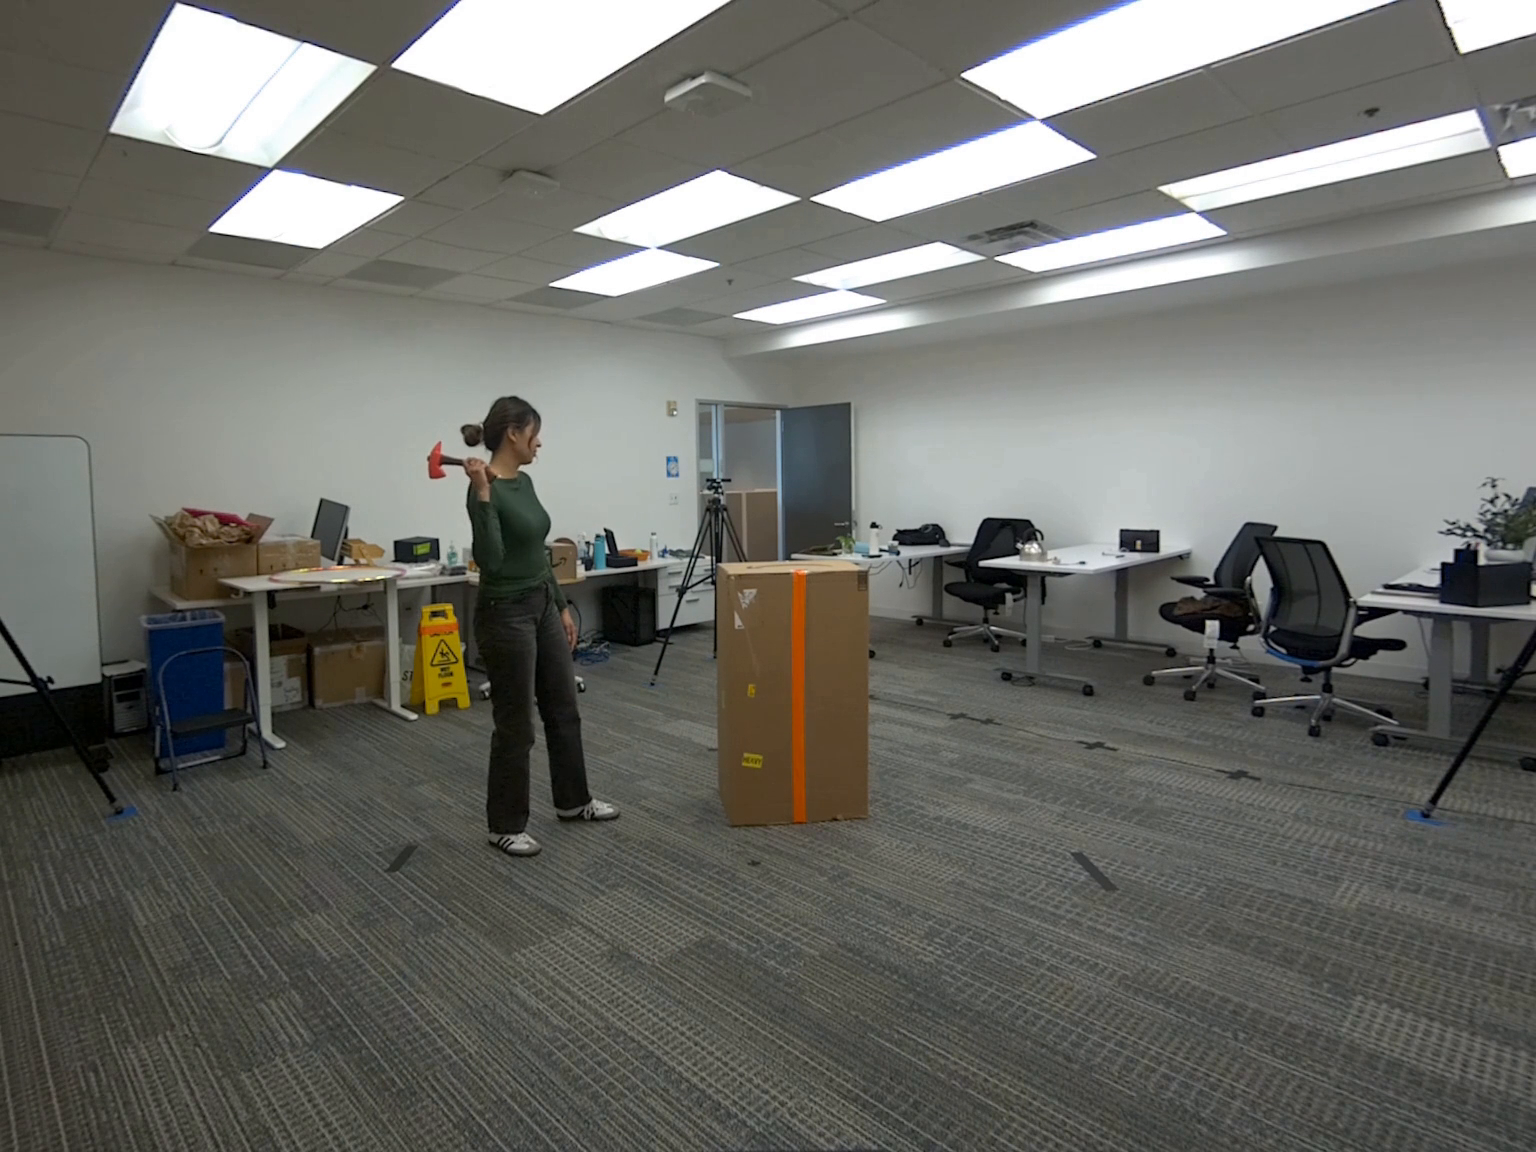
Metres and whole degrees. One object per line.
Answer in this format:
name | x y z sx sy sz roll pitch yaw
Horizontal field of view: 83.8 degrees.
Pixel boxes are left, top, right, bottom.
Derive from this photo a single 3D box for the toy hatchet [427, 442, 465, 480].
toy hatchet | -1.054 -0.357 2.927 0.275 0.131 0.029 27 -2 16
